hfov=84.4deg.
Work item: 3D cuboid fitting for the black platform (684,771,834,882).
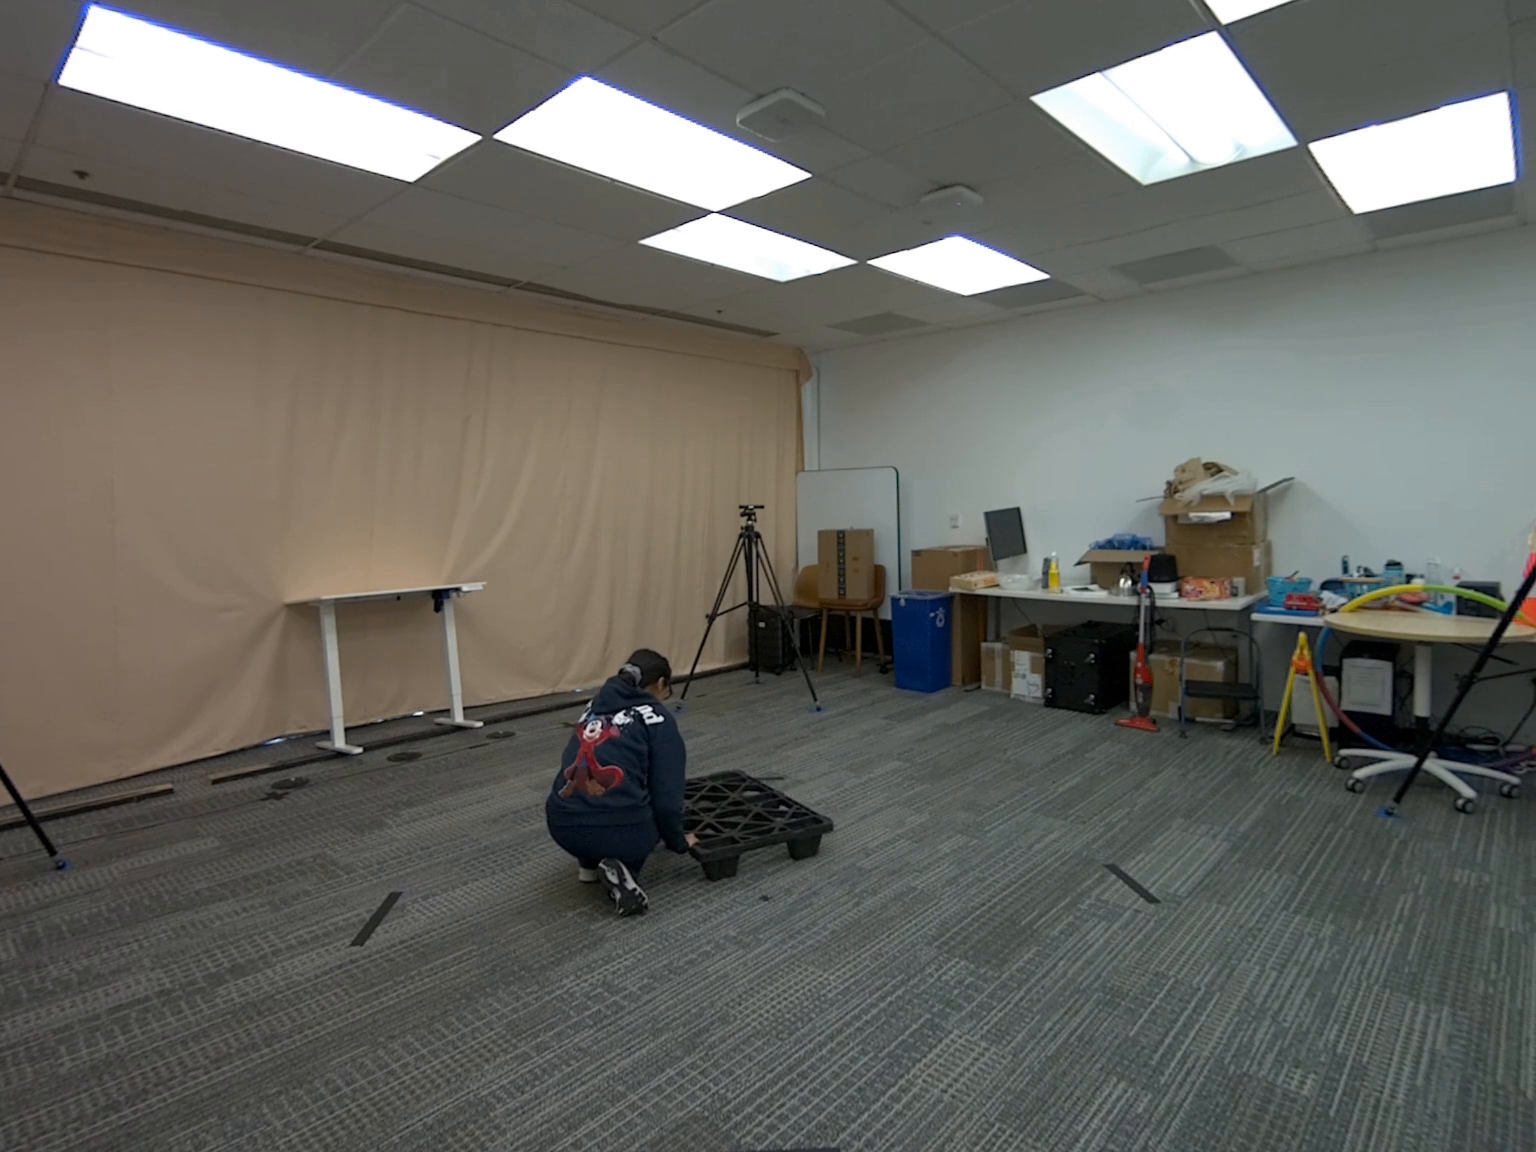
[{"bbox_3d":[-0.190,1.029,3.536,0.590,0.143,0.828,-4,6,-29],"label":"black platform"}]
